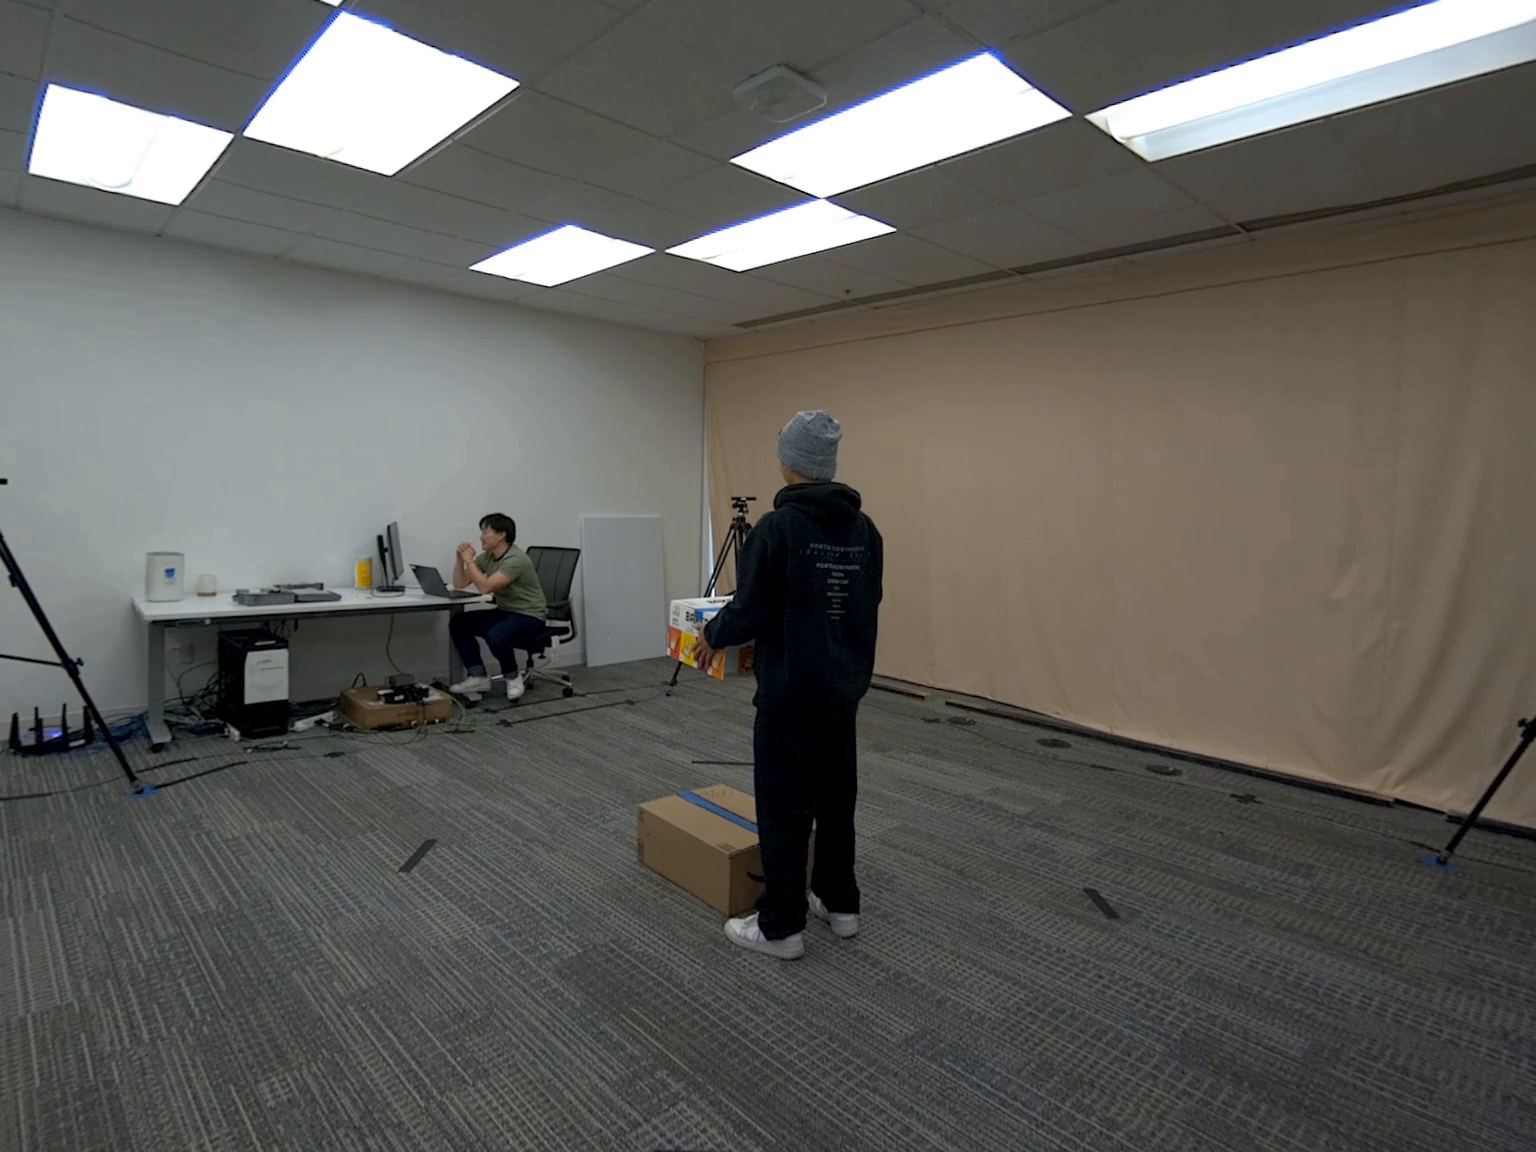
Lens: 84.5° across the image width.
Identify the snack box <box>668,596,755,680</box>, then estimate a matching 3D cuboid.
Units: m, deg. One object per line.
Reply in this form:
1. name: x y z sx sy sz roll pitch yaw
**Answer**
1. snack box: -0.105 0.211 3.026 0.396 0.204 0.350 -3 13 -39
